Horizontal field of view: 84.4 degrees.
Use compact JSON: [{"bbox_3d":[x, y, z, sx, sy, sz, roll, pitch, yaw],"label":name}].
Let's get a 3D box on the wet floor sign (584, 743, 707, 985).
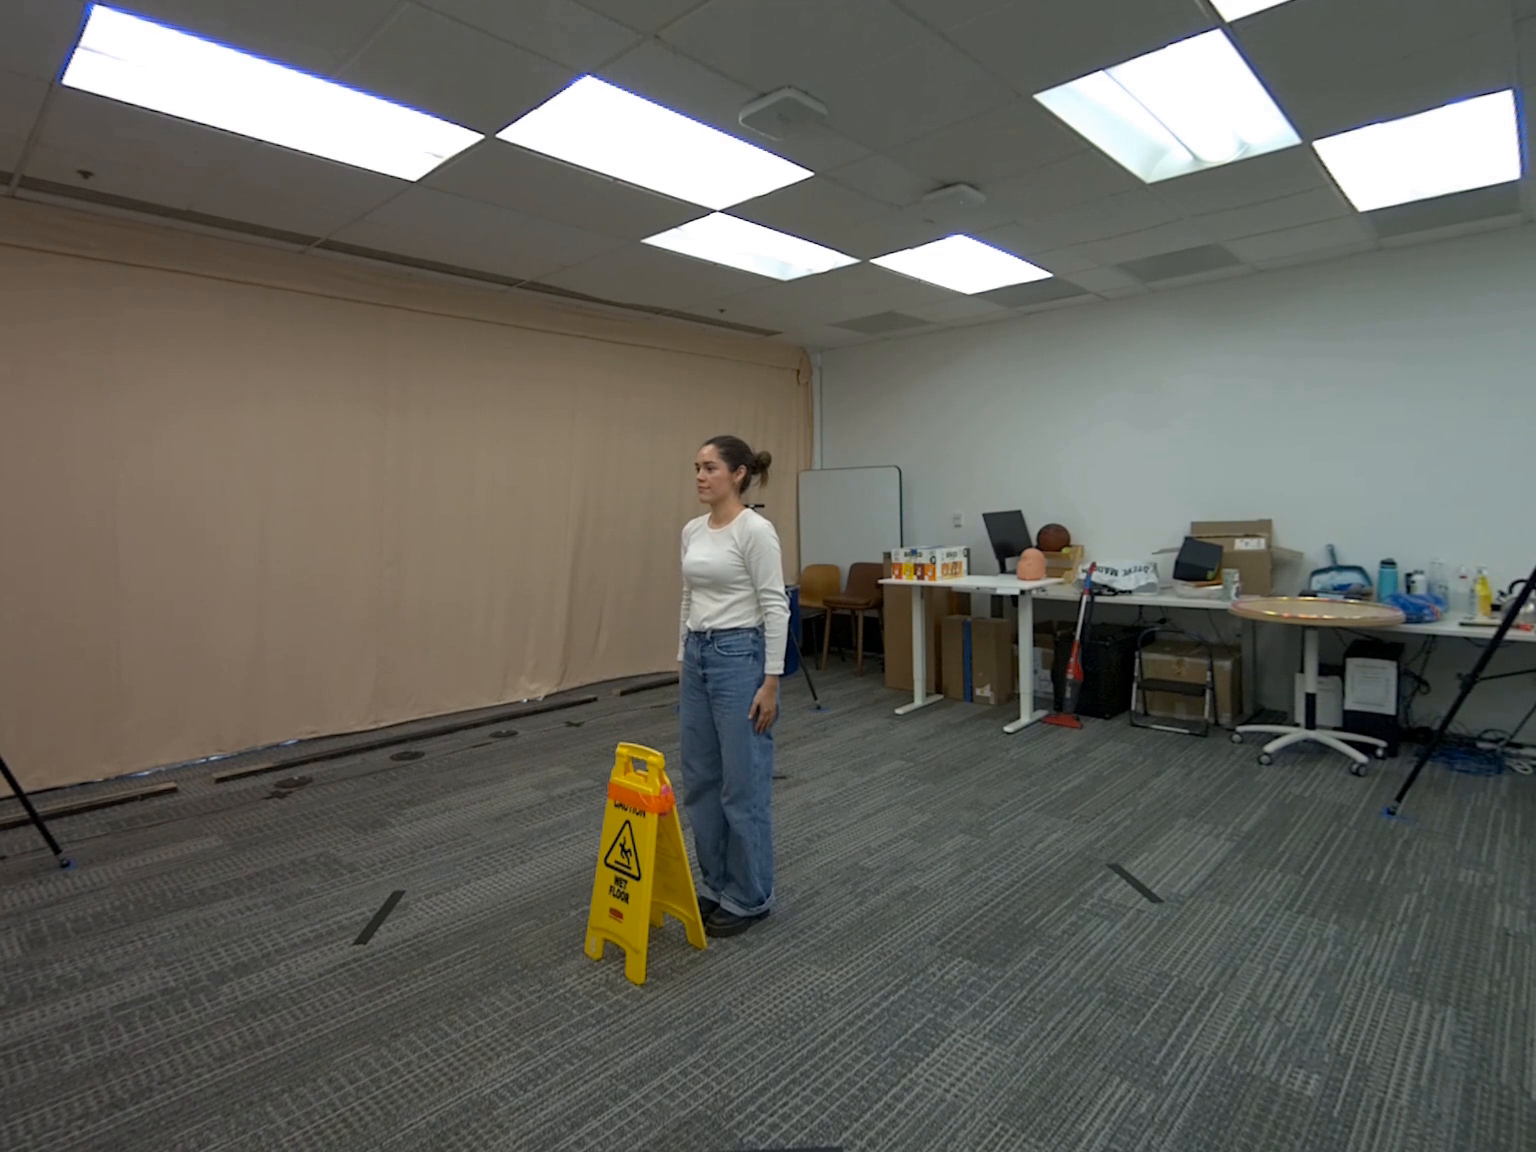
[{"bbox_3d":[-0.389,0.855,2.620,0.291,0.645,0.281,0,4,43],"label":"wet floor sign"}]
